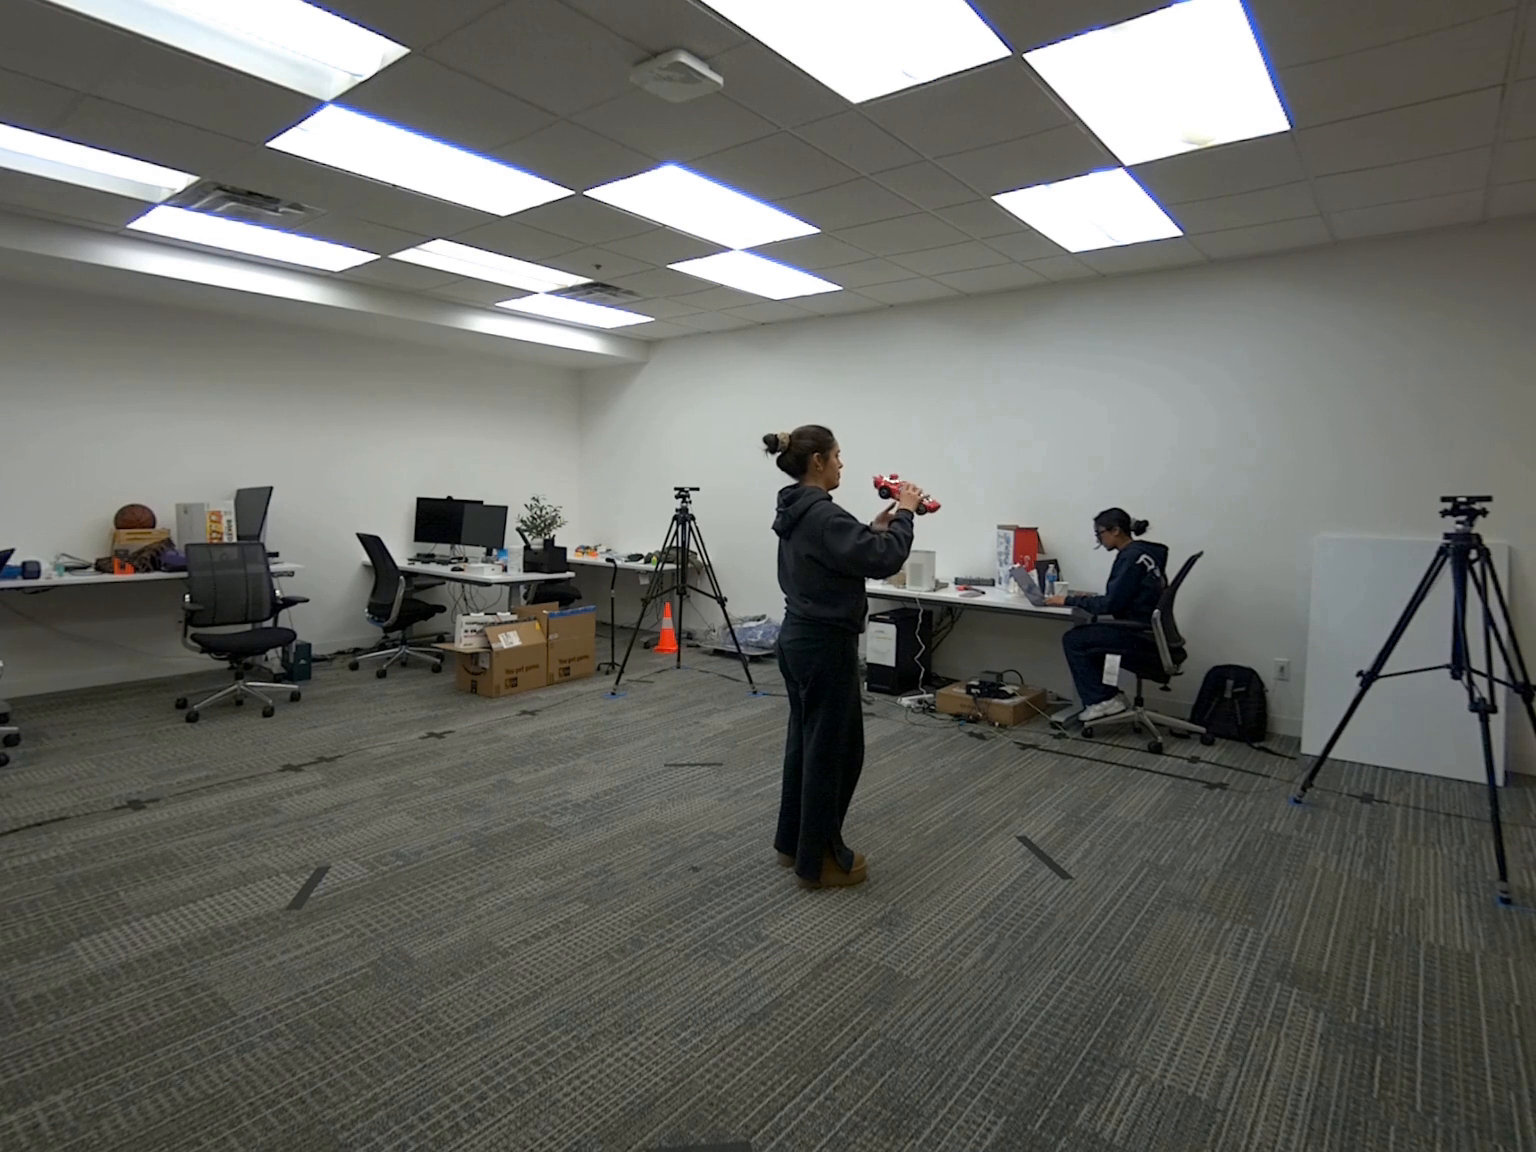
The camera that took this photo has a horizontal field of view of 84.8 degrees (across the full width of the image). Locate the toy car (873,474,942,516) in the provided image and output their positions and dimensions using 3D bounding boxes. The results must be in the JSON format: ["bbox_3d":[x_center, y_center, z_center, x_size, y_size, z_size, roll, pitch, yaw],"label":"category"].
[{"bbox_3d":[0.479,-0.289,3.026,0.263,0.082,0.127,40,28,24],"label":"toy car"}]
